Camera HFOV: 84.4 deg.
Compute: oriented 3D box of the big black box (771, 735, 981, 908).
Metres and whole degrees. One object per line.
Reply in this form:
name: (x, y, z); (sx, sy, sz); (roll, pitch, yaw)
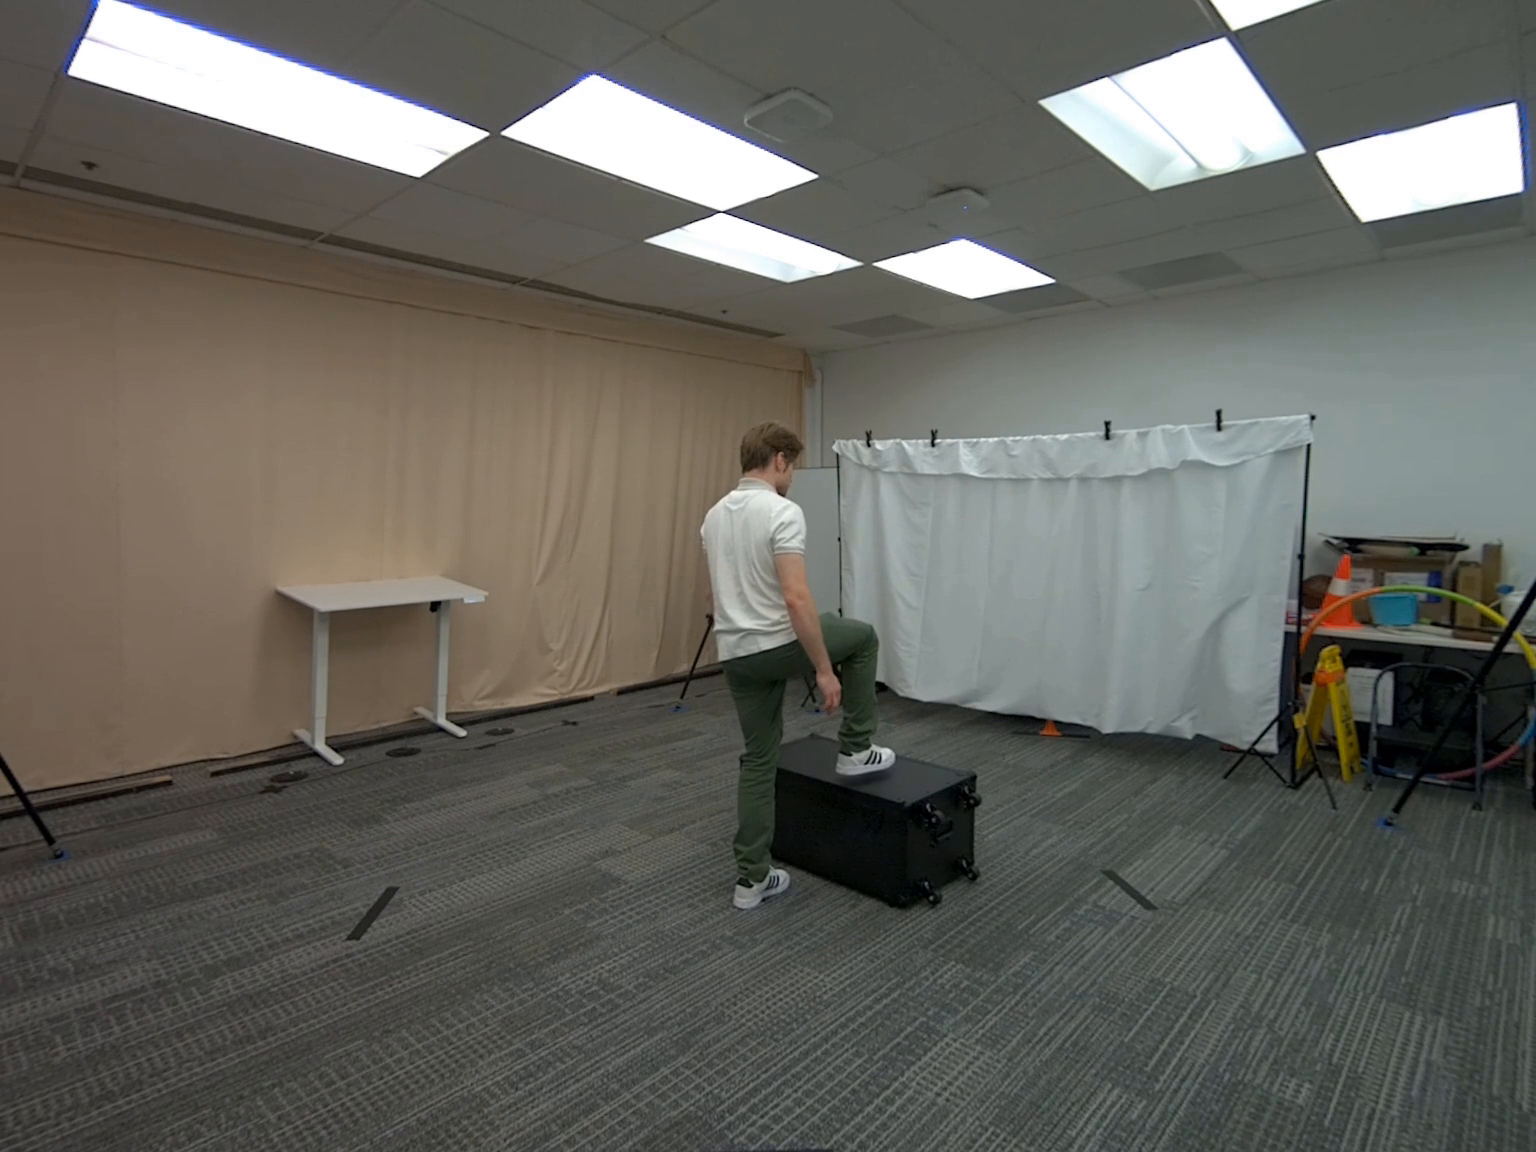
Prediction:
big black box: (0.362, 0.922, 3.274); (0.898, 0.384, 0.507); (5, 5, 43)
